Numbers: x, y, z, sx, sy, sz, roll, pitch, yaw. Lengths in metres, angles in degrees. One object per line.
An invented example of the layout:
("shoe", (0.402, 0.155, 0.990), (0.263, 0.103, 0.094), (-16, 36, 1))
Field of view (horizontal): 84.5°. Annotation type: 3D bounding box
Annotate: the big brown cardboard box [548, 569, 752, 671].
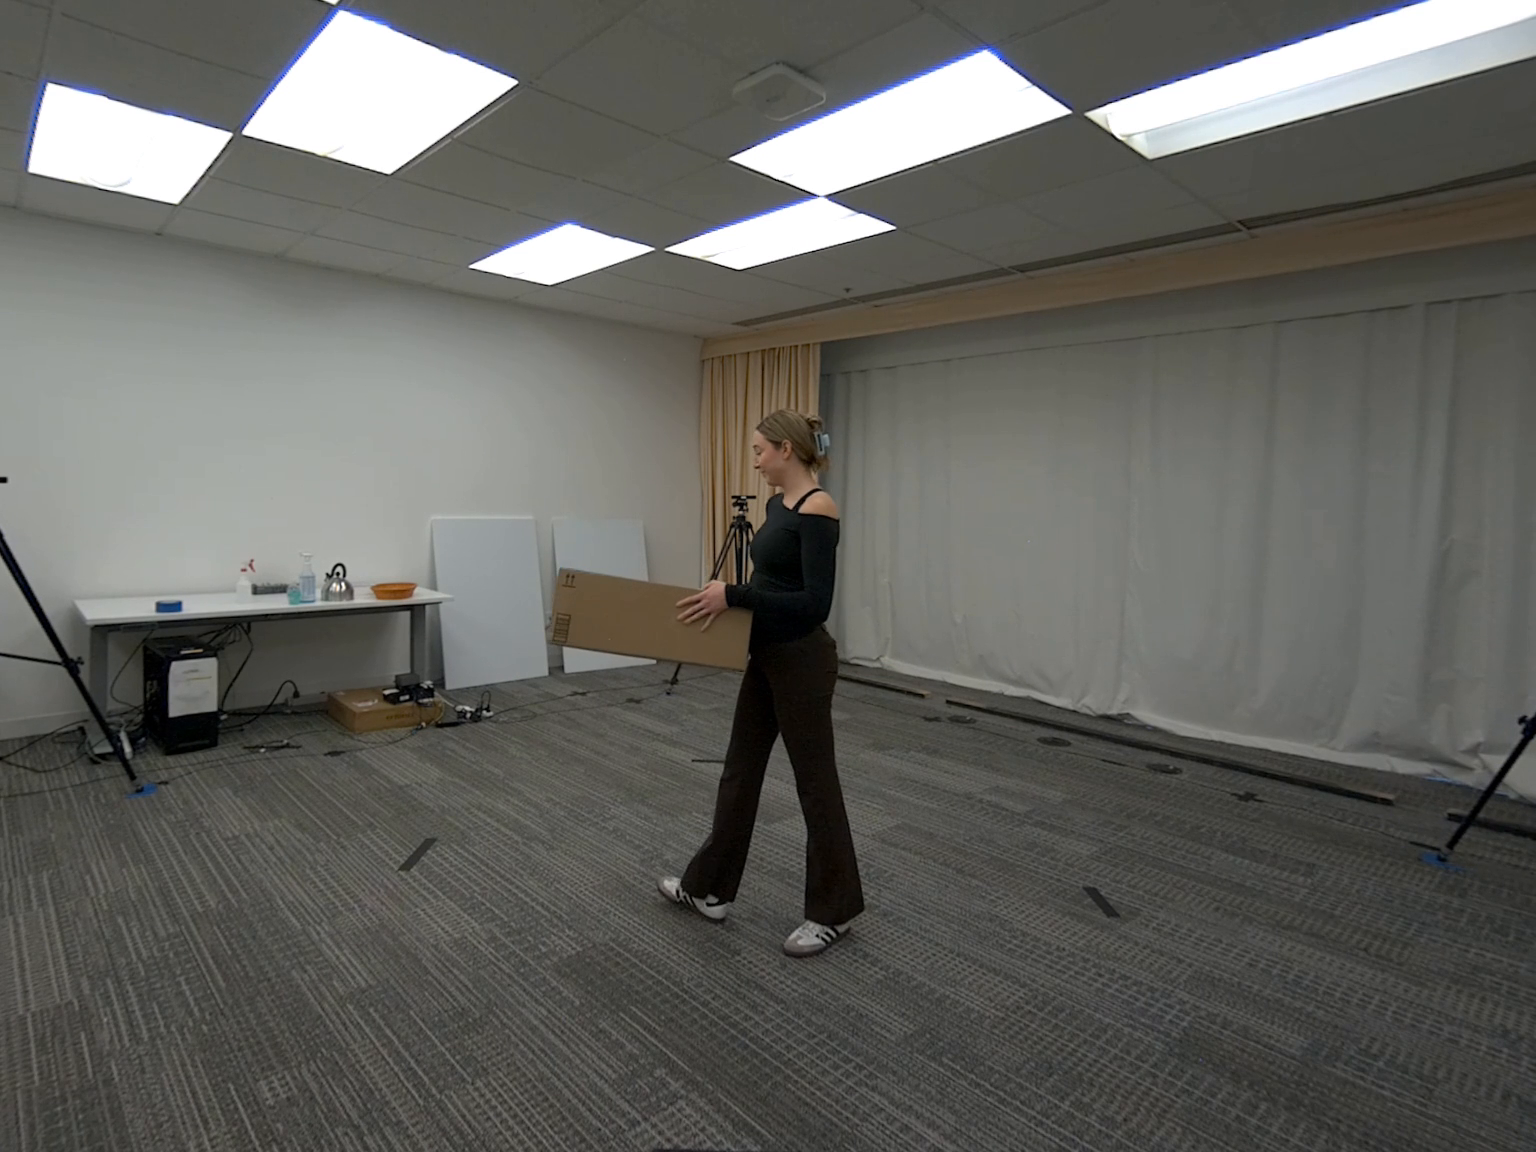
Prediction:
("big brown cardboard box", (-0.371, 0.138, 2.588), (0.584, 0.234, 0.419), (10, -6, -9))
